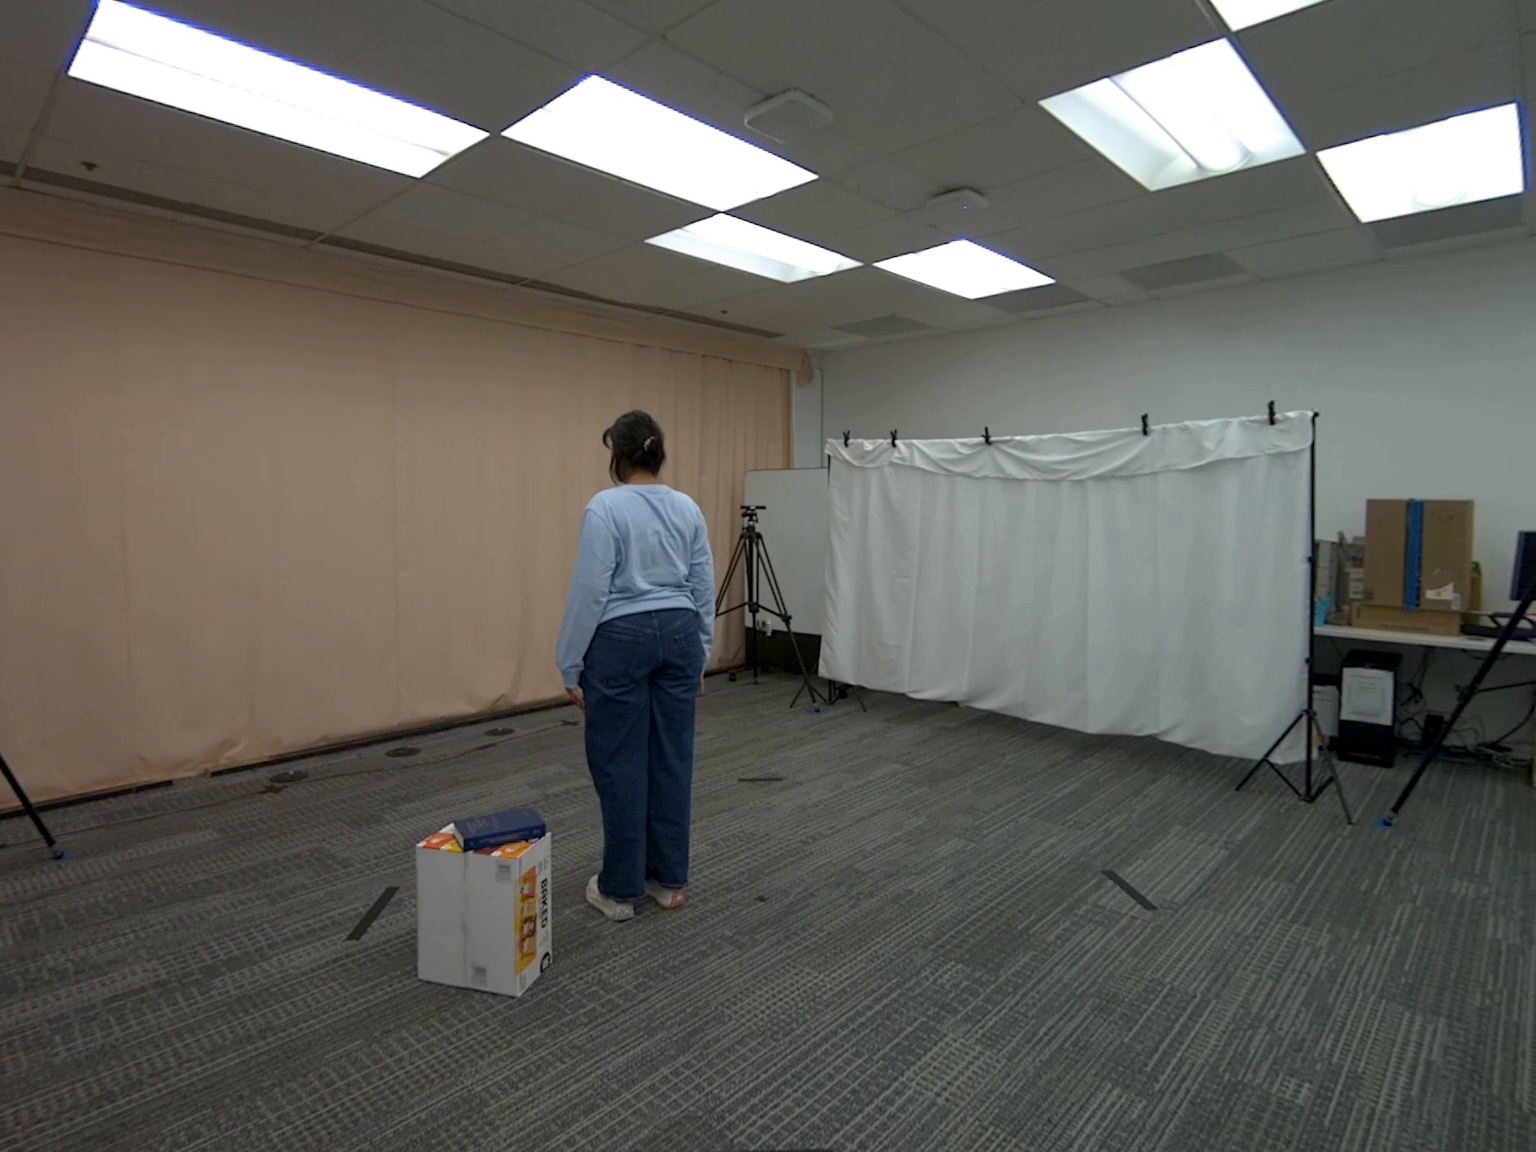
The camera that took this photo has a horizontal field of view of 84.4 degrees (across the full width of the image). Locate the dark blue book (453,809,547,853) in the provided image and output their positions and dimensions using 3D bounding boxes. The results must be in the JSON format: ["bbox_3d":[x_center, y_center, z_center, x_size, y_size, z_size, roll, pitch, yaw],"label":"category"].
[{"bbox_3d":[-0.823,0.766,2.529,0.238,0.045,0.168,-2,3,-30],"label":"dark blue book"}]
